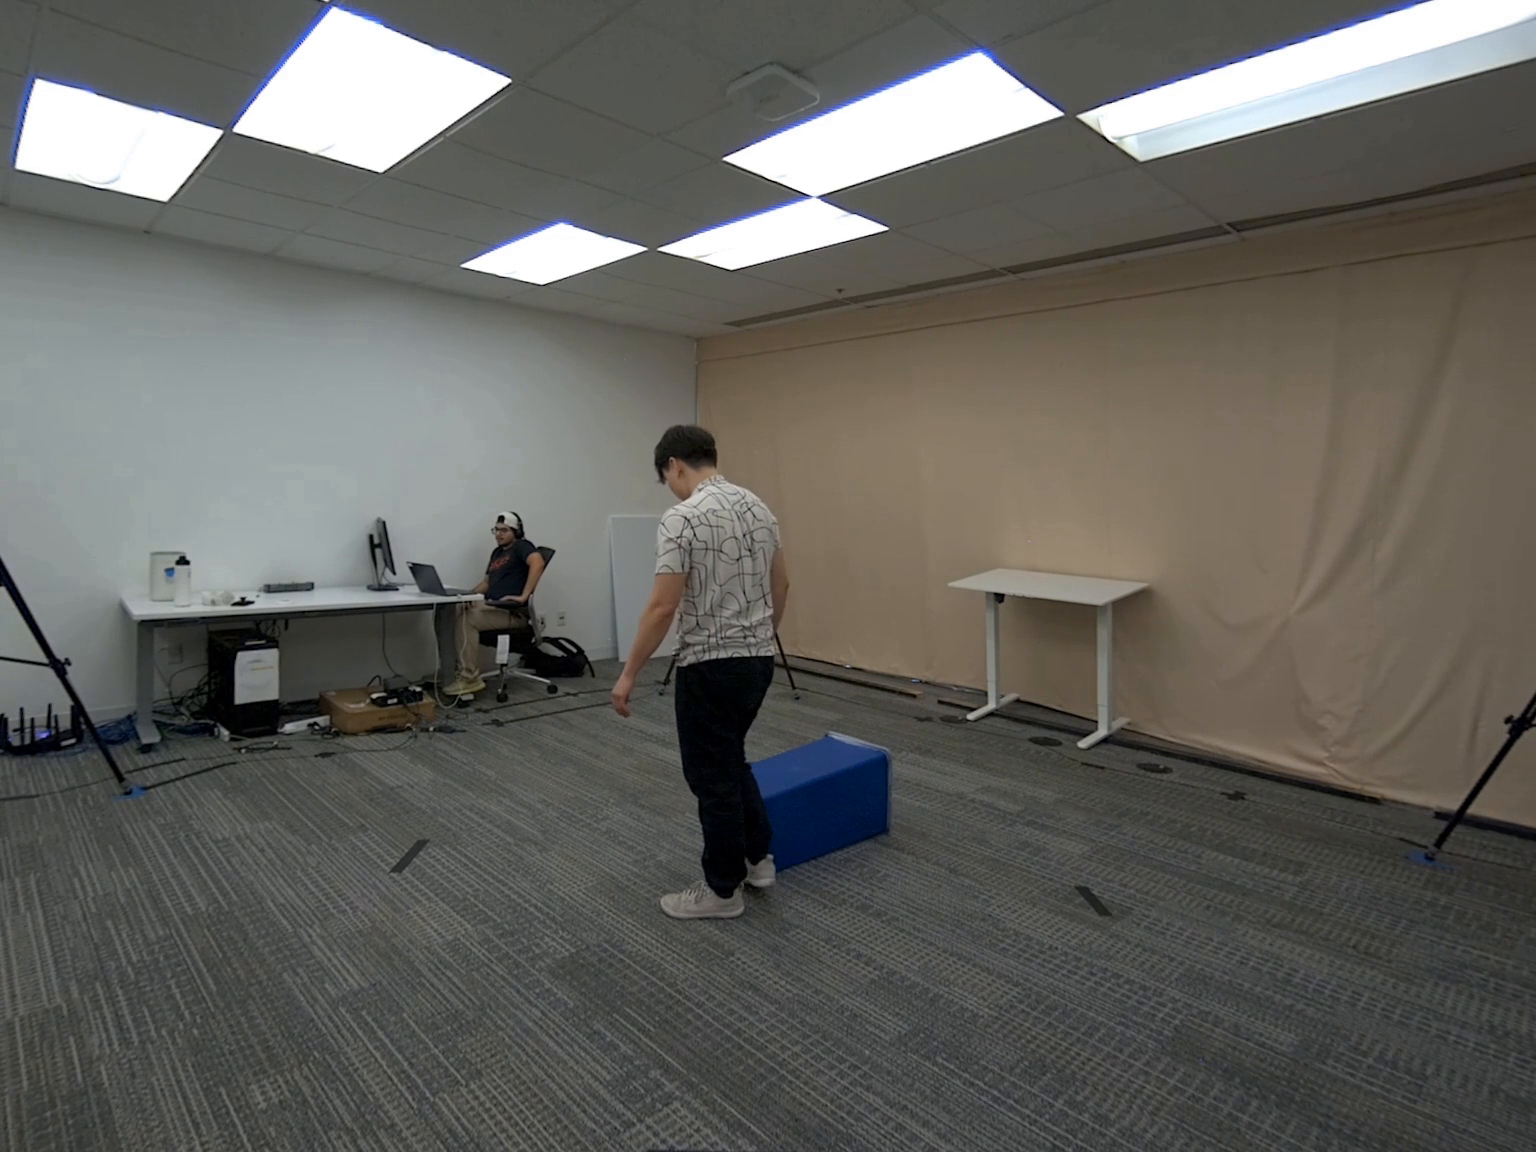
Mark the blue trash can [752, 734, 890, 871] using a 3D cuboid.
[{"bbox_3d":[0.123,0.910,3.410,0.698,0.377,0.384,-5,7,-42],"label":"blue trash can"}]
